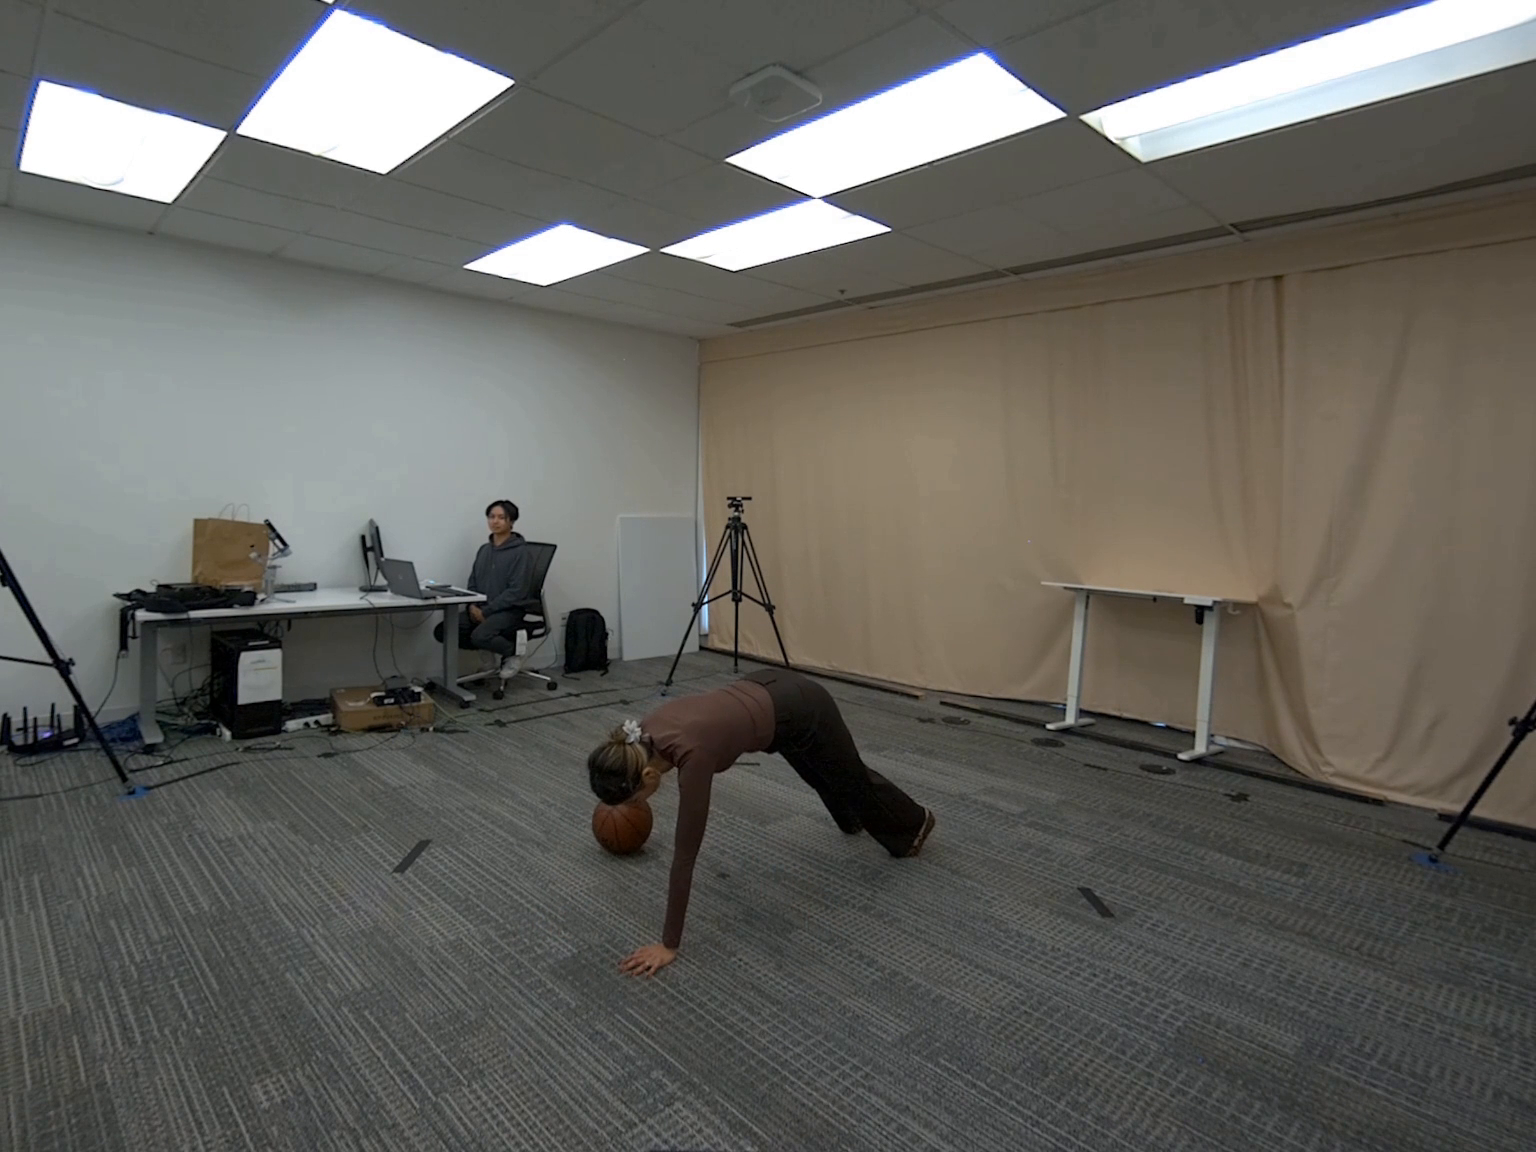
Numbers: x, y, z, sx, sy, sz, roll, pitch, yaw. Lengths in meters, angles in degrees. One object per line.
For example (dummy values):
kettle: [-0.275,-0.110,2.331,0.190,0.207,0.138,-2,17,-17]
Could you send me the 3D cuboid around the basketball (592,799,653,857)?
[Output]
basketball: [-0.567,0.958,3.295,0.236,0.235,0.237,1,4,-1]
